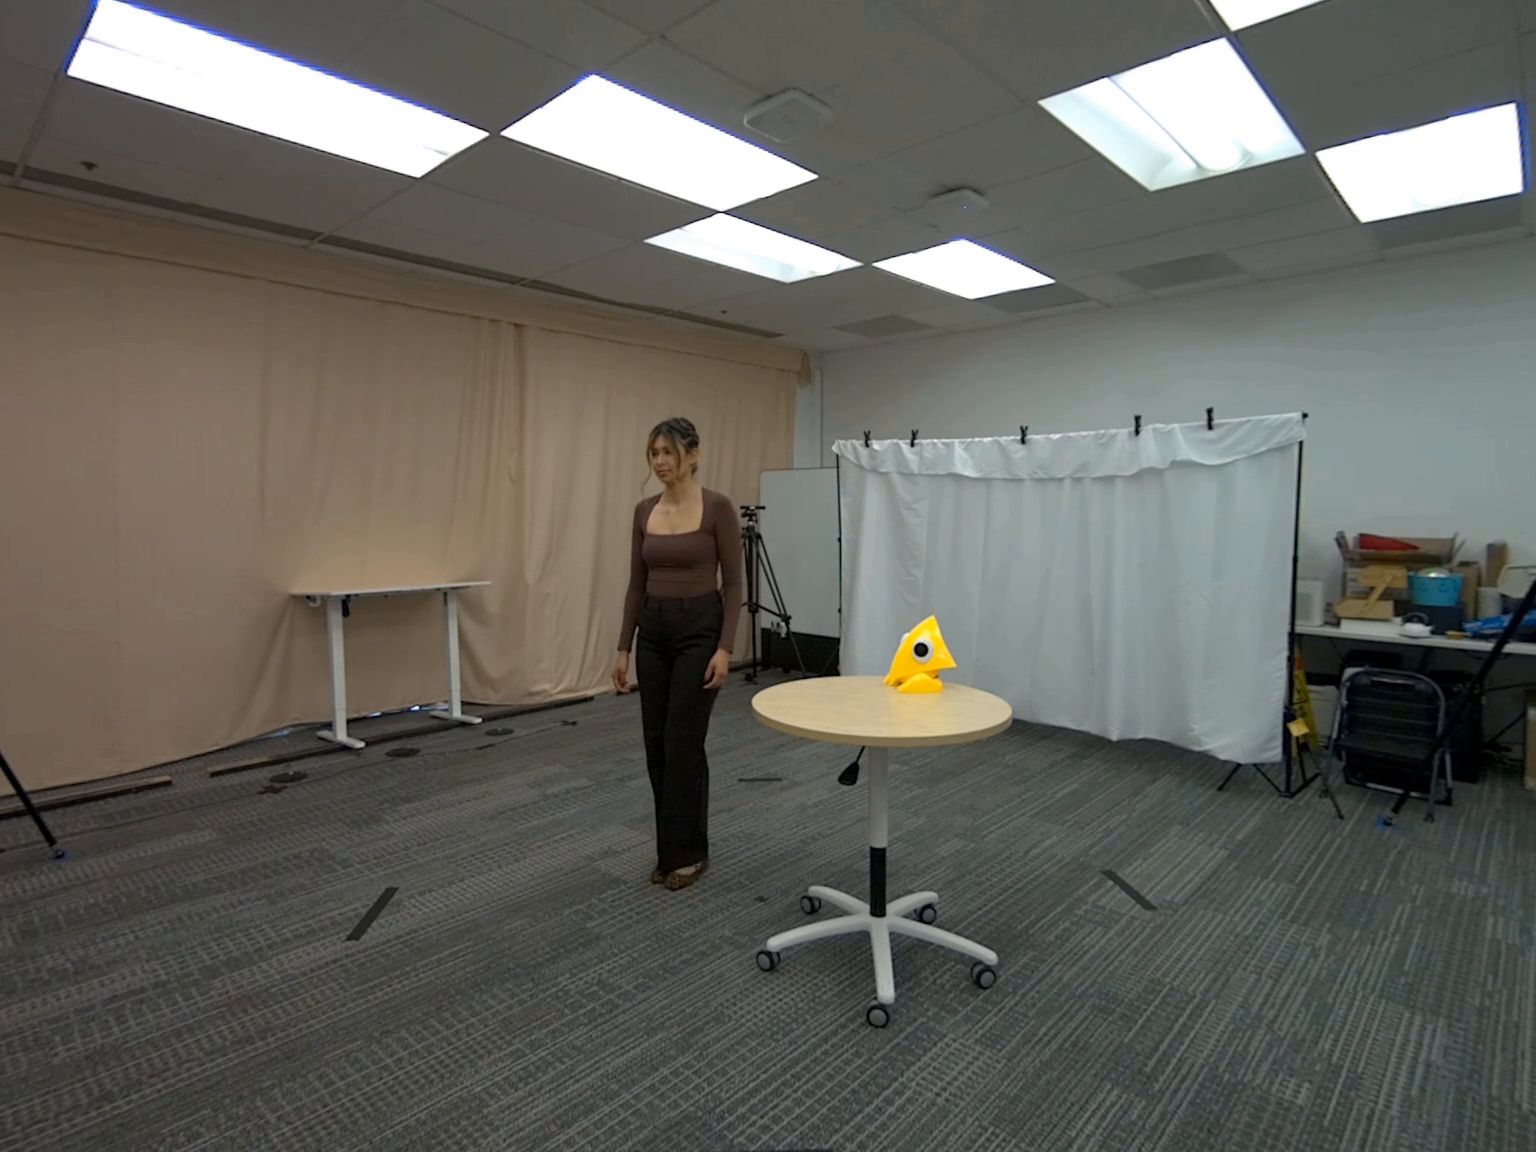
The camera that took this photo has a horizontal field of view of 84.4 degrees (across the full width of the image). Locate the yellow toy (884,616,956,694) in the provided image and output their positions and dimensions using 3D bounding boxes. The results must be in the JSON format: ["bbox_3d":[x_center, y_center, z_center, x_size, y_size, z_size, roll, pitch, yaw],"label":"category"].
[{"bbox_3d":[0.492,0.249,2.751,0.190,0.230,0.208,-1,4,-14],"label":"yellow toy"}]
